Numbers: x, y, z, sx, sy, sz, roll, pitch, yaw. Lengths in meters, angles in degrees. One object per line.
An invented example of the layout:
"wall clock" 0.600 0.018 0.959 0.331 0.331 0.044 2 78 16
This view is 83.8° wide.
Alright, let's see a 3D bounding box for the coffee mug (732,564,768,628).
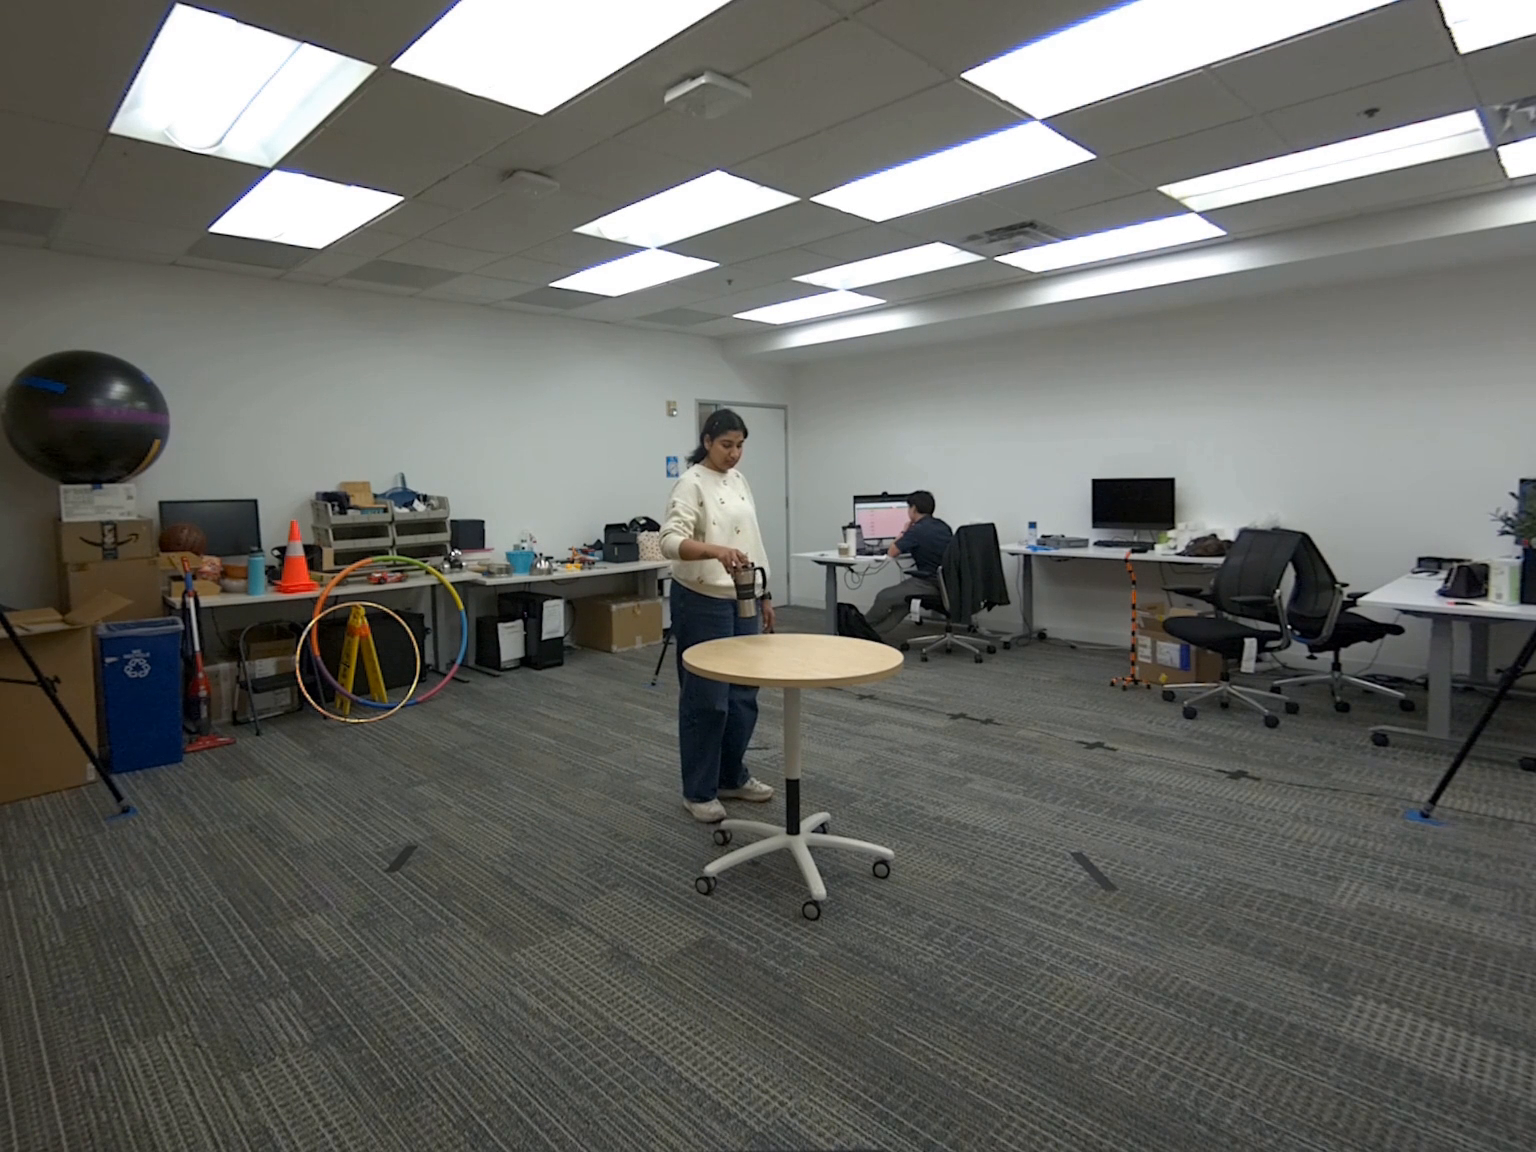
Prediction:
"coffee mug" -0.070 0.058 3.127 0.125 0.202 0.086 -4 4 41
